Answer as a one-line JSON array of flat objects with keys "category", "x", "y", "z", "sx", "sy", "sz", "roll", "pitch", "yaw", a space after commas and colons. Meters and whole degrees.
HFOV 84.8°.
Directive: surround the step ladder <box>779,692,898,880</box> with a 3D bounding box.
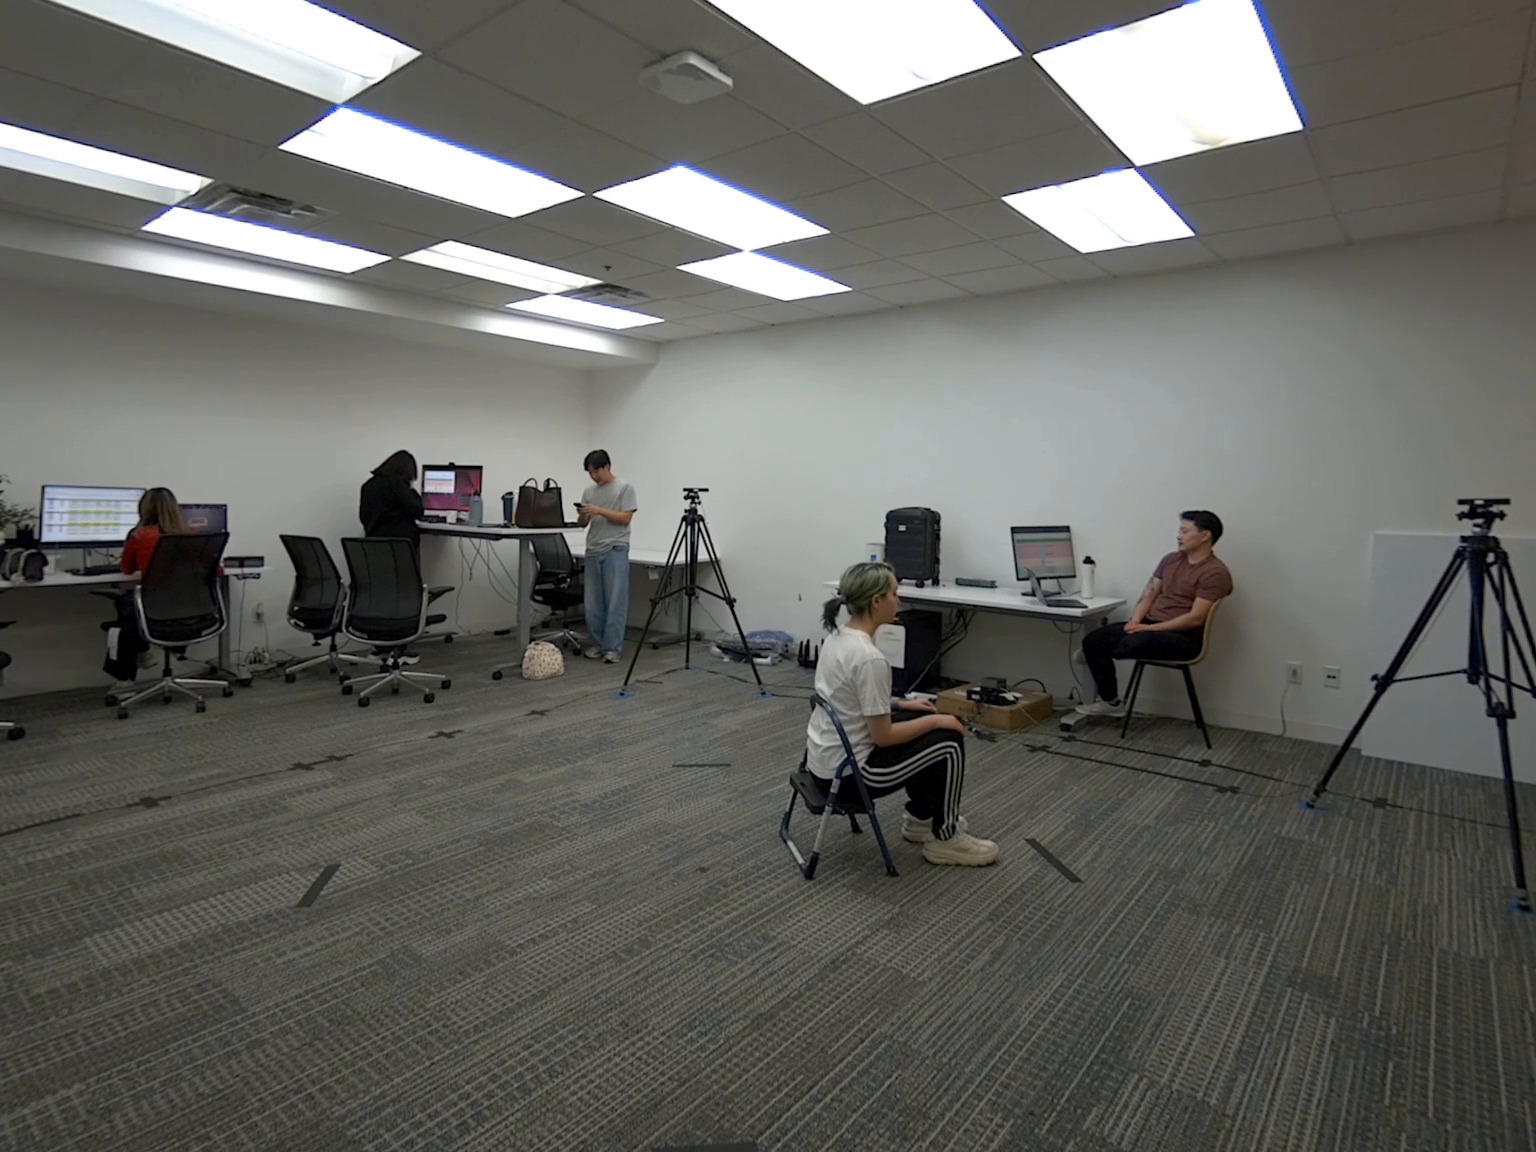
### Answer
[{"category": "step ladder", "x": 0.258, "y": 0.769, "z": 3.257, "sx": 0.345, "sy": 0.604, "sz": 0.438, "roll": 2, "pitch": 4, "yaw": -13}]
